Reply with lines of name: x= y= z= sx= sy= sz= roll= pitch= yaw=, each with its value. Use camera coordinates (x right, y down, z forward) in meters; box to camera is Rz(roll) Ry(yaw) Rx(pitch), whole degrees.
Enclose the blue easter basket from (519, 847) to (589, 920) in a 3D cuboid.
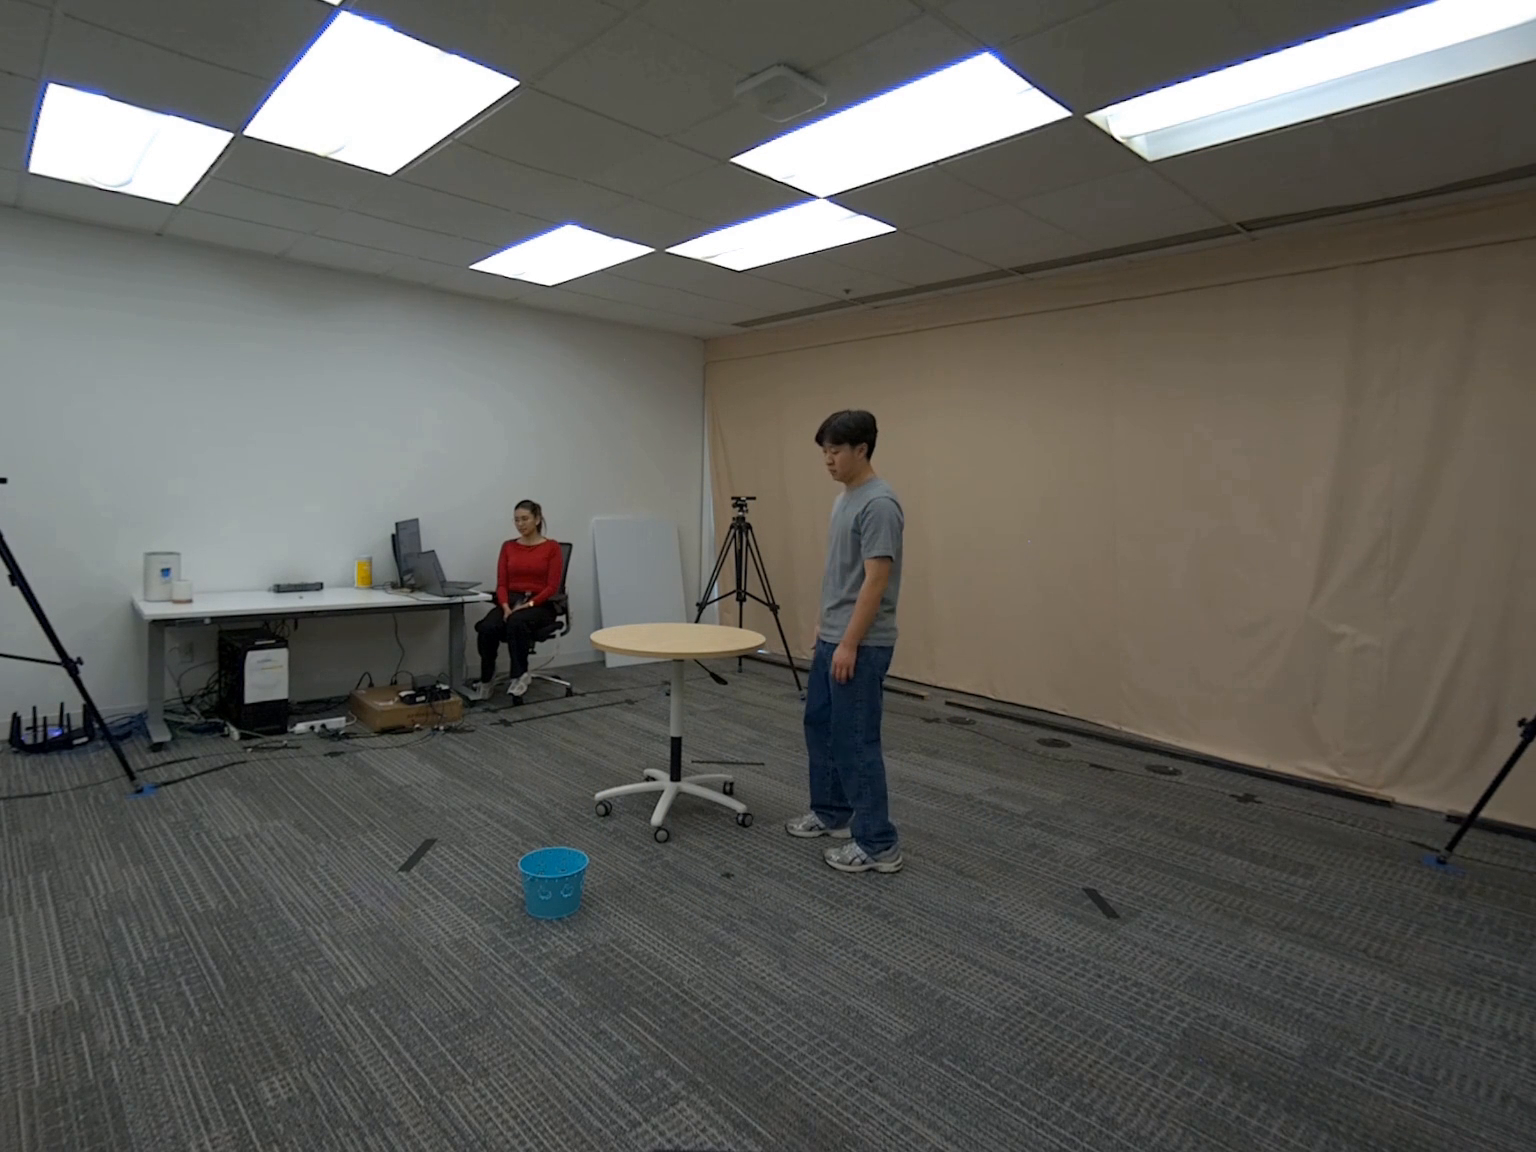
blue easter basket: x=-0.736 y=1.040 z=2.847 sx=0.243 sy=0.155 sz=0.245 roll=2 pitch=6 yaw=-2
